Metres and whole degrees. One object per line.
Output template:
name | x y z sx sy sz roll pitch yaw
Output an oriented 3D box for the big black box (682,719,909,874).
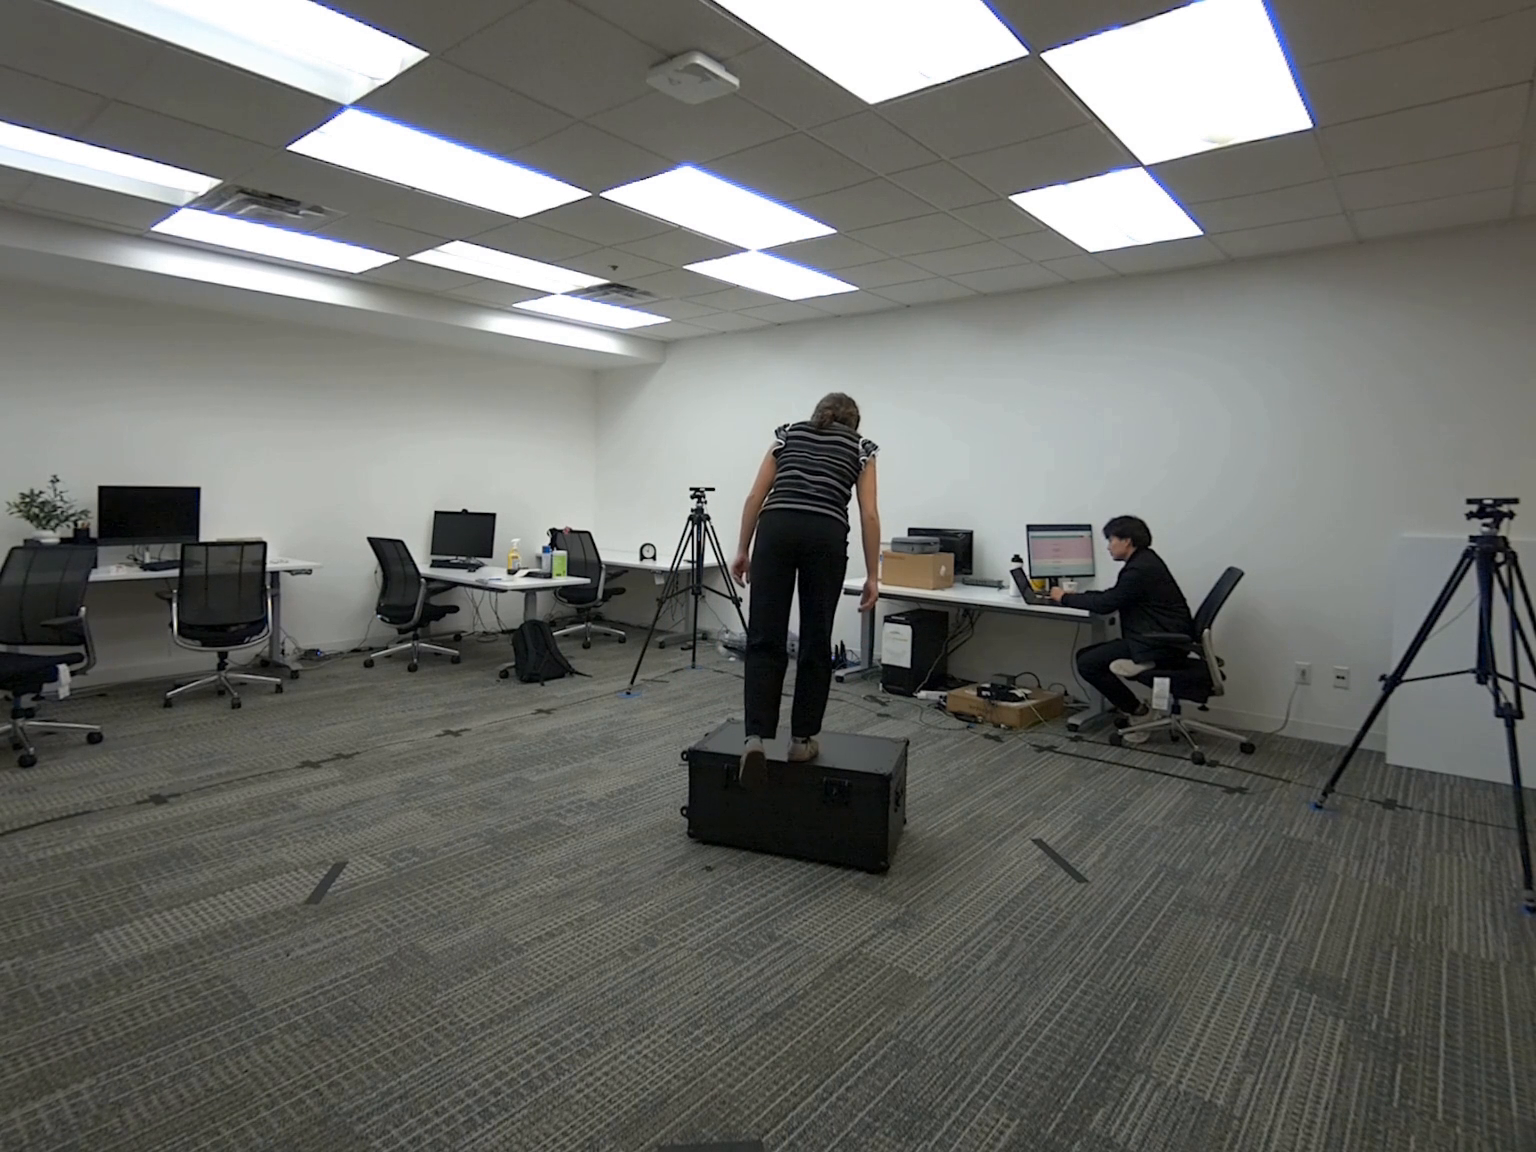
big black box | 0.089 0.851 3.428 0.880 0.394 0.513 4 6 19
